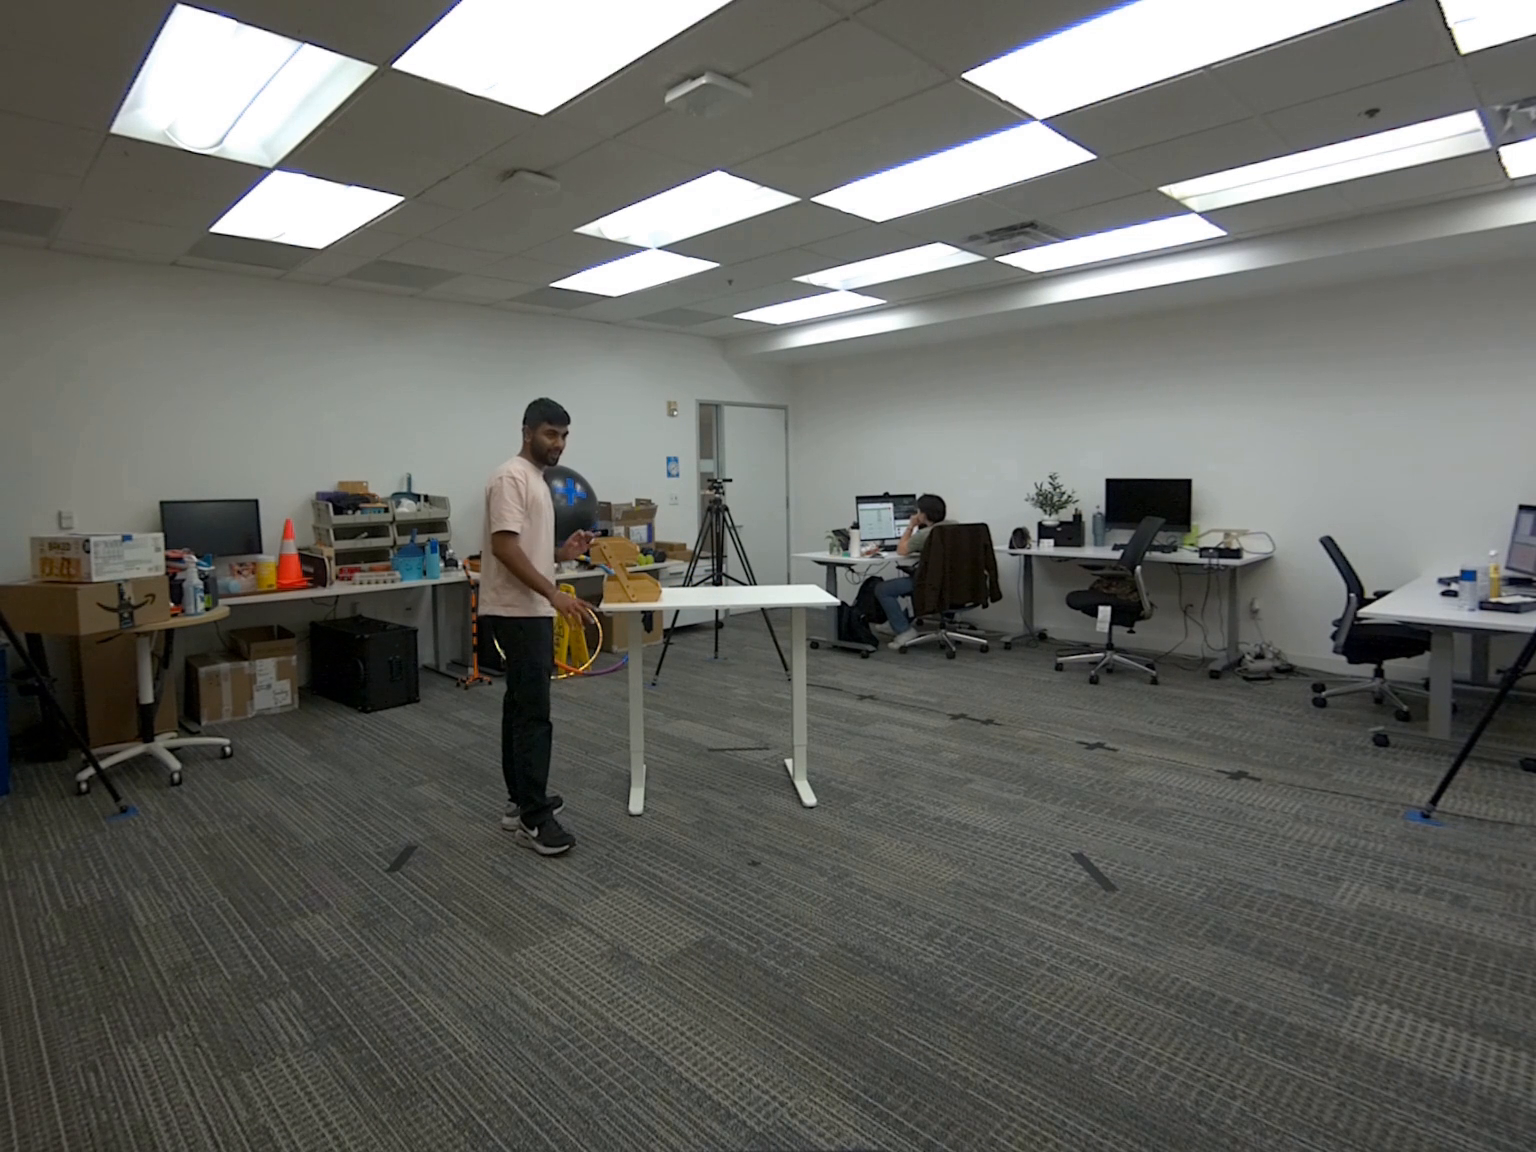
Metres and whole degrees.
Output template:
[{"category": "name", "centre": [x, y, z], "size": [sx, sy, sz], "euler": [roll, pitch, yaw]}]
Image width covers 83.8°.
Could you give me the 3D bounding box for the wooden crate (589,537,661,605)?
[{"category": "wooden crate", "centre": [-0.623, -0.038, 3.773], "size": [0.300, 0.272, 0.328], "euler": [-4, 5, -9]}]
